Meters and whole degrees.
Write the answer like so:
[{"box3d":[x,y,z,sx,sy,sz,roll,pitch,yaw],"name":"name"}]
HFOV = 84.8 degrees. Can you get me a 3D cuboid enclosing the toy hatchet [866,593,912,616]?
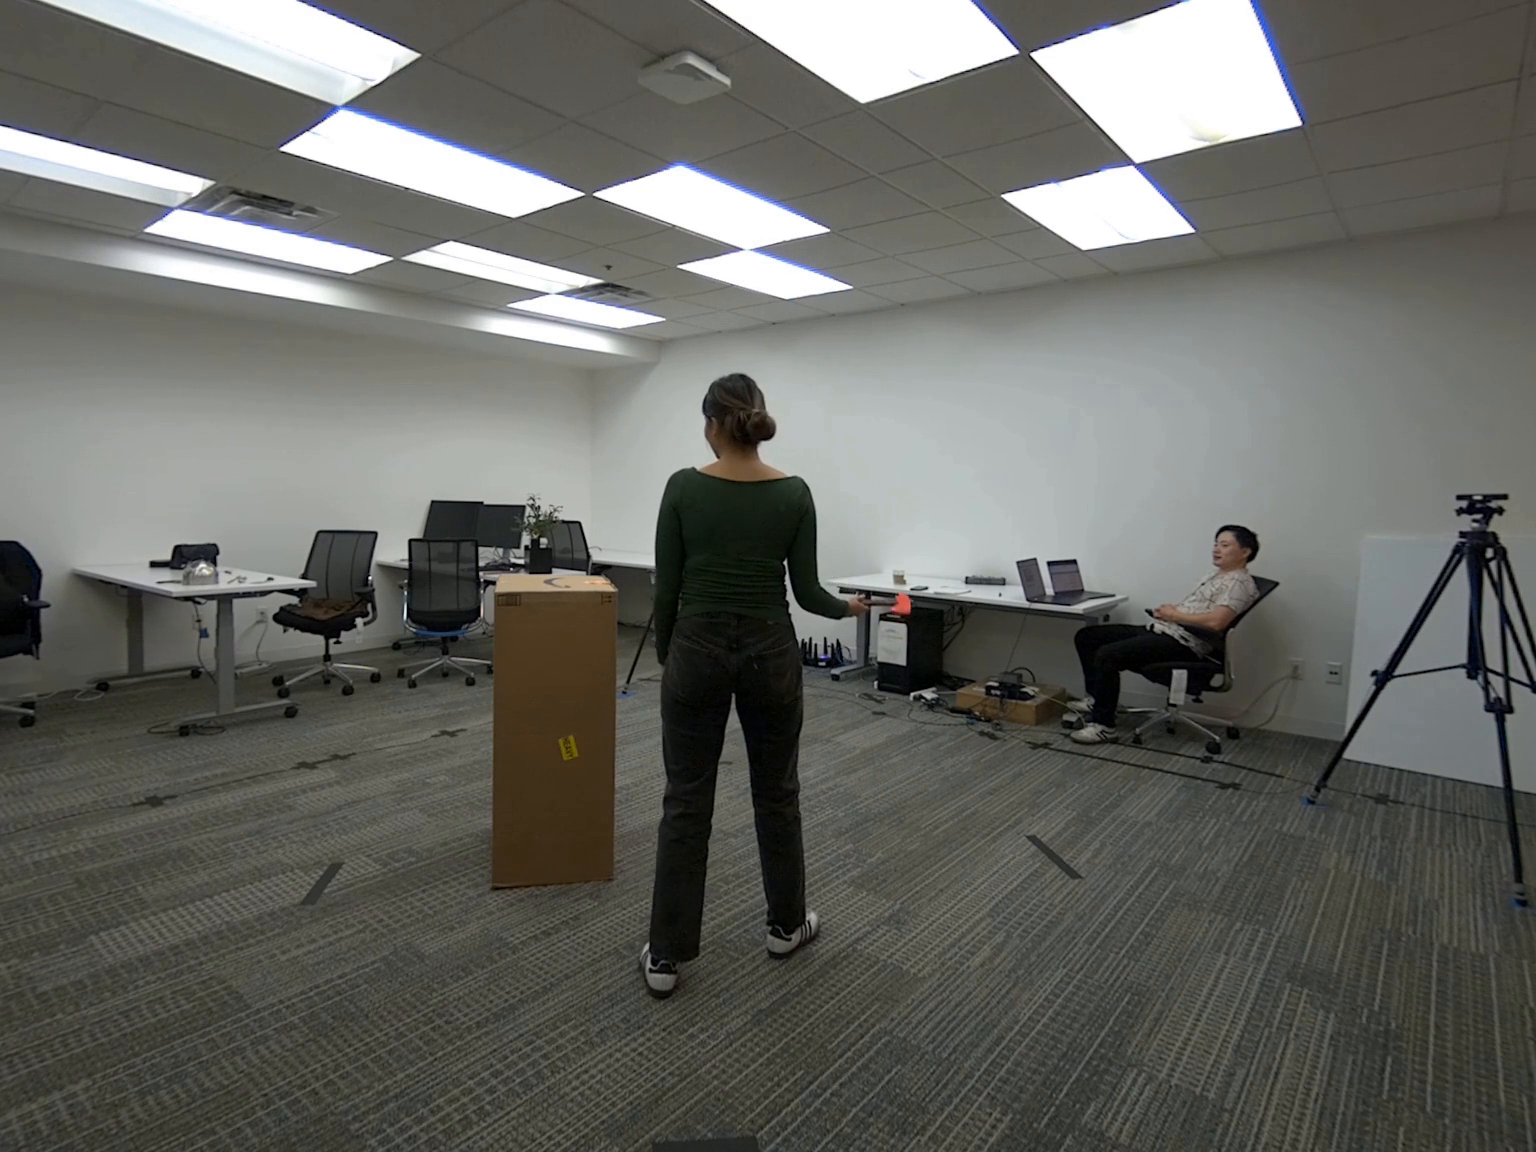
[{"box3d":[0.321,0.108,2.709,0.266,0.029,0.136,-12,30,-18],"name":"toy hatchet"}]
